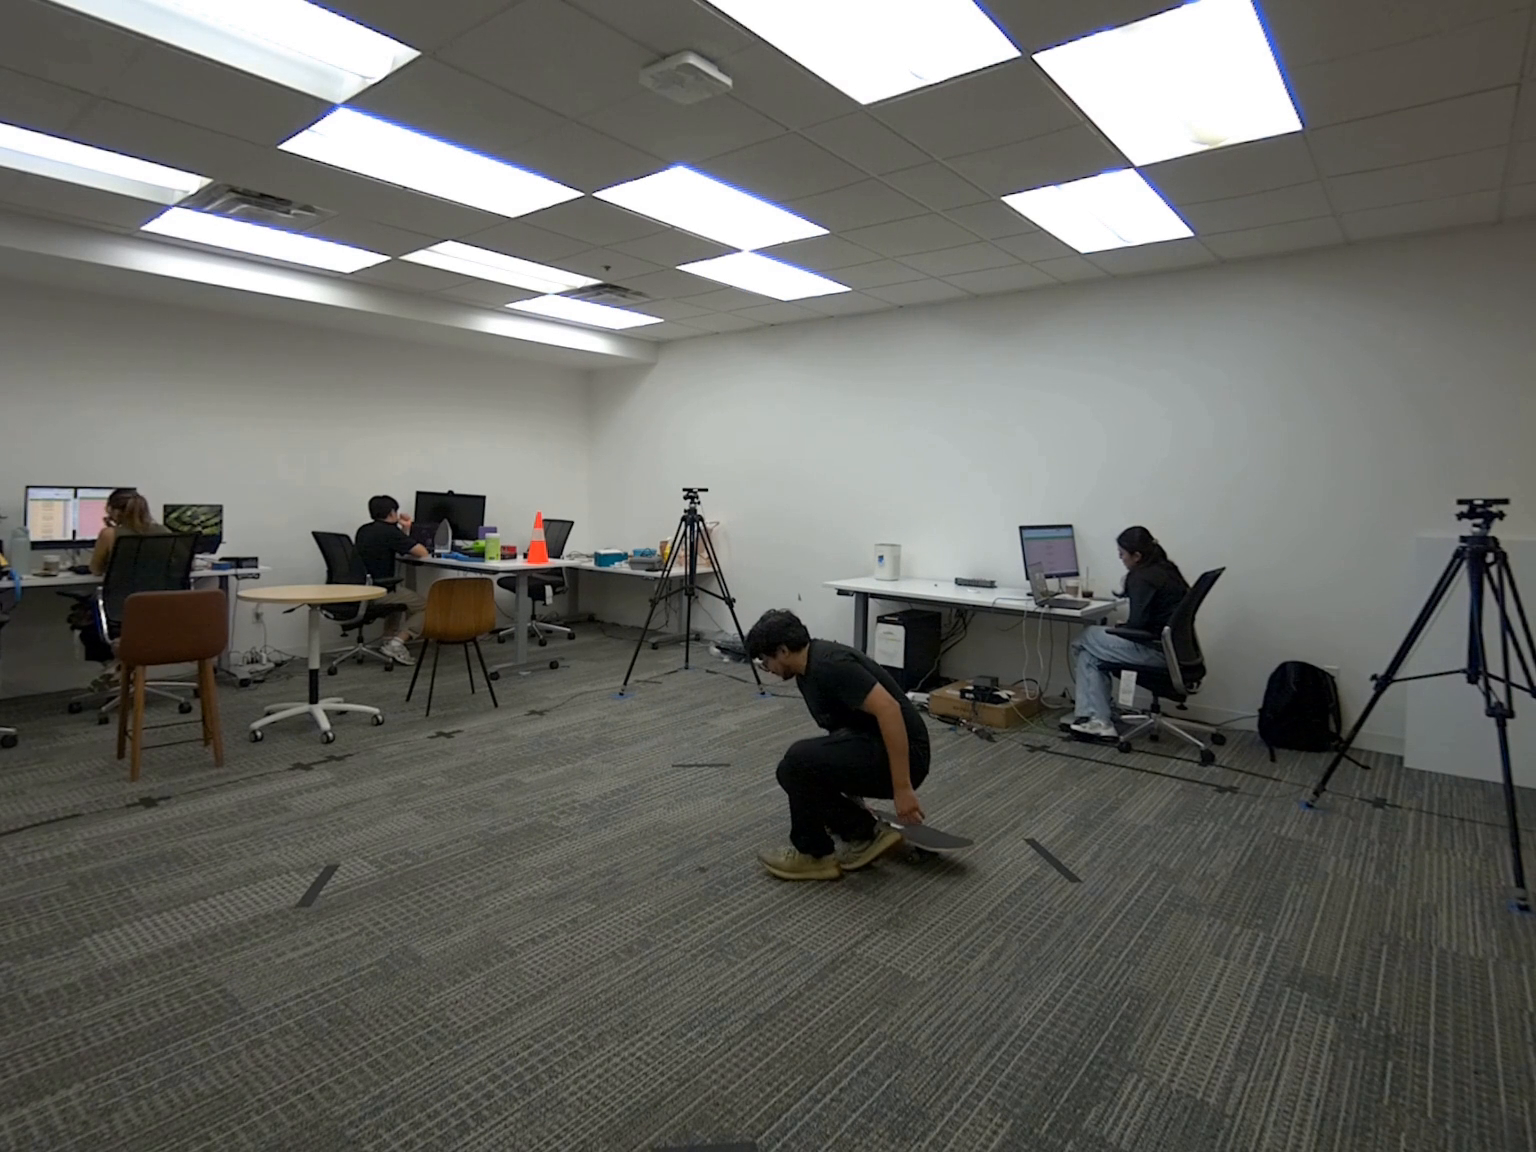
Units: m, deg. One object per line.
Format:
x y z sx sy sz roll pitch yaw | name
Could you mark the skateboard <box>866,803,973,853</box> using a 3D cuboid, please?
0.437 0.999 3.387 0.813 0.110 0.187 8 6 42 | skateboard
